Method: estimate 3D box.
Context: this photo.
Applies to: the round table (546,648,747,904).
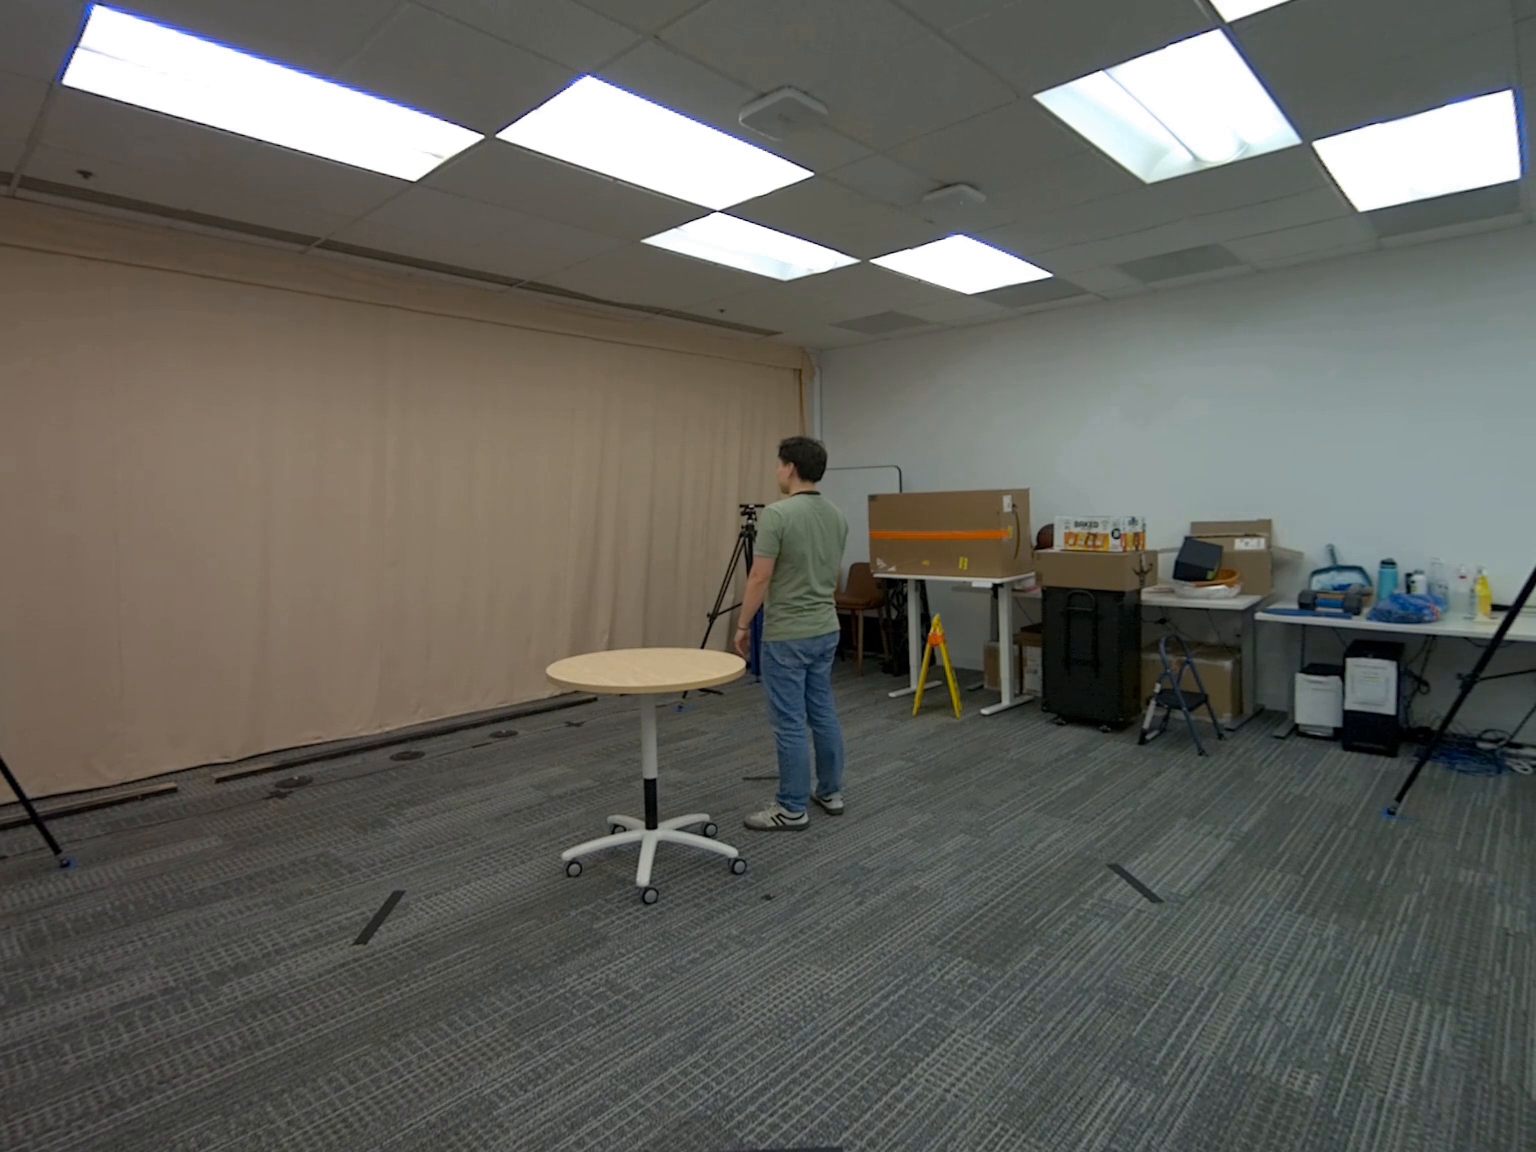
[{"bbox_3d":[-0.458,0.737,3.272,0.763,0.792,0.766,-2,4,-2],"label":"round table"}]
